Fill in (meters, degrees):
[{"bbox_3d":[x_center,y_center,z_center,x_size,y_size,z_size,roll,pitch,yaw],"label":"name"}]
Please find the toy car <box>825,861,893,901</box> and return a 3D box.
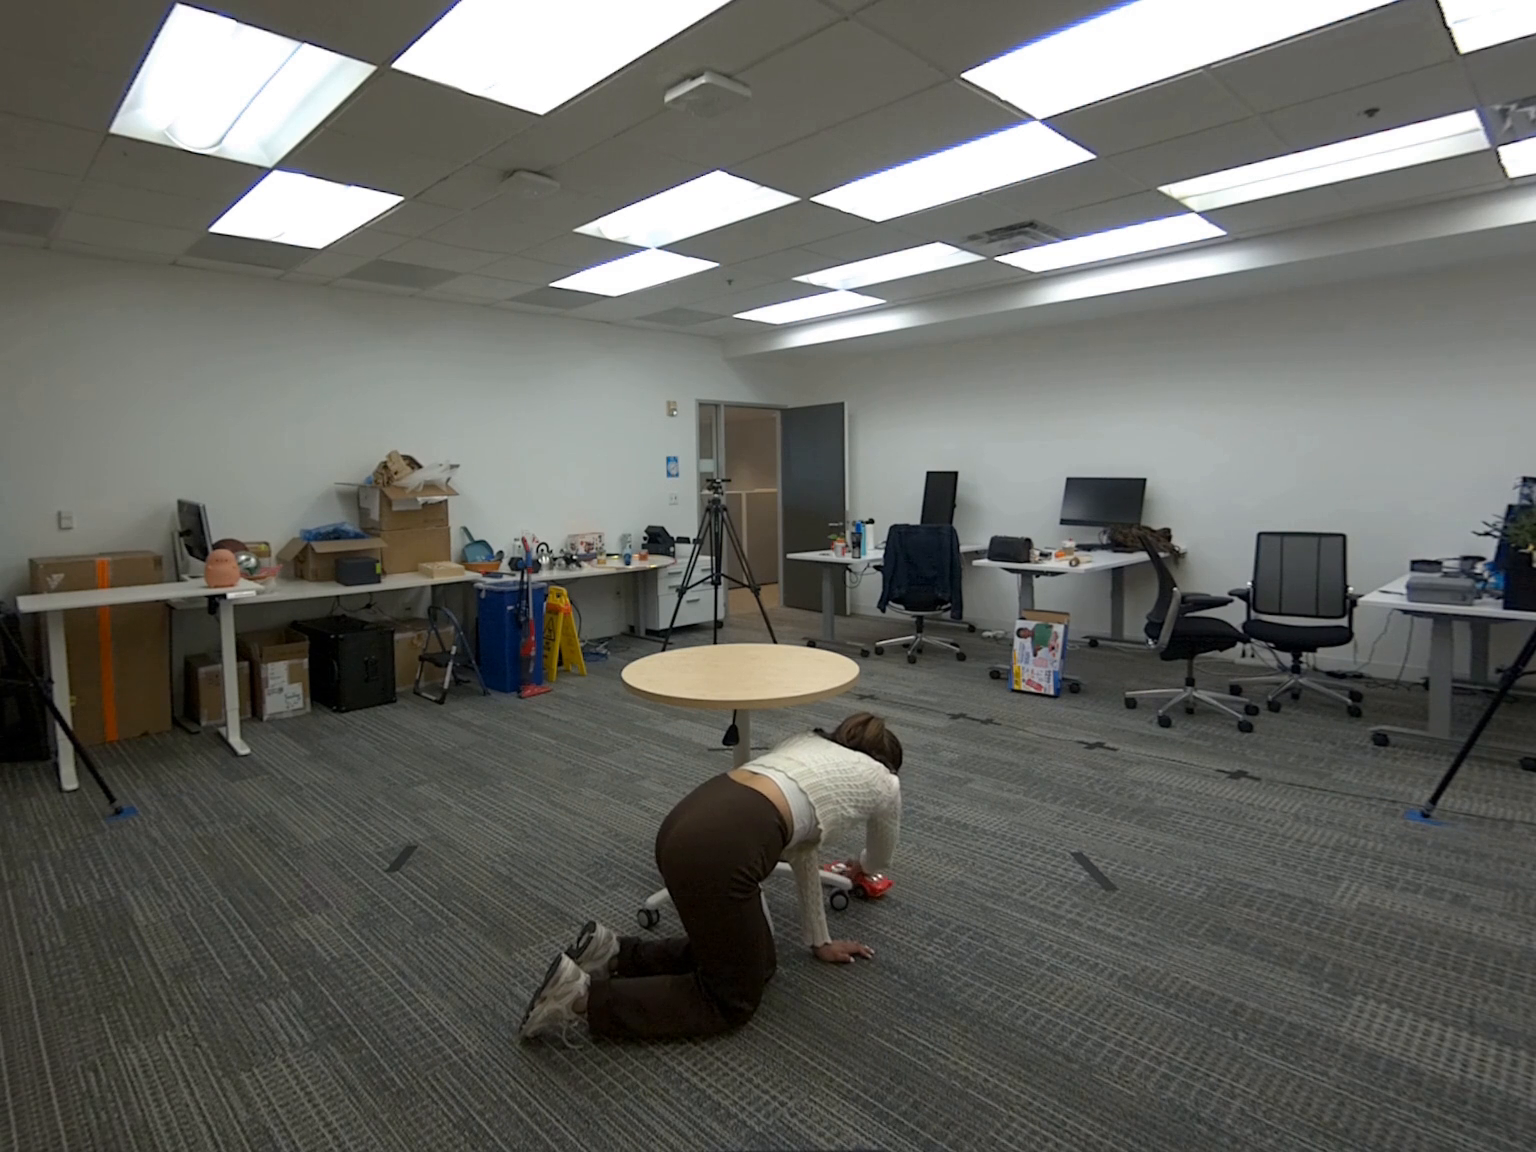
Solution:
[{"bbox_3d":[0.297,1.025,2.887,0.127,0.083,0.260,-3,-4,-44],"label":"toy car"}]
